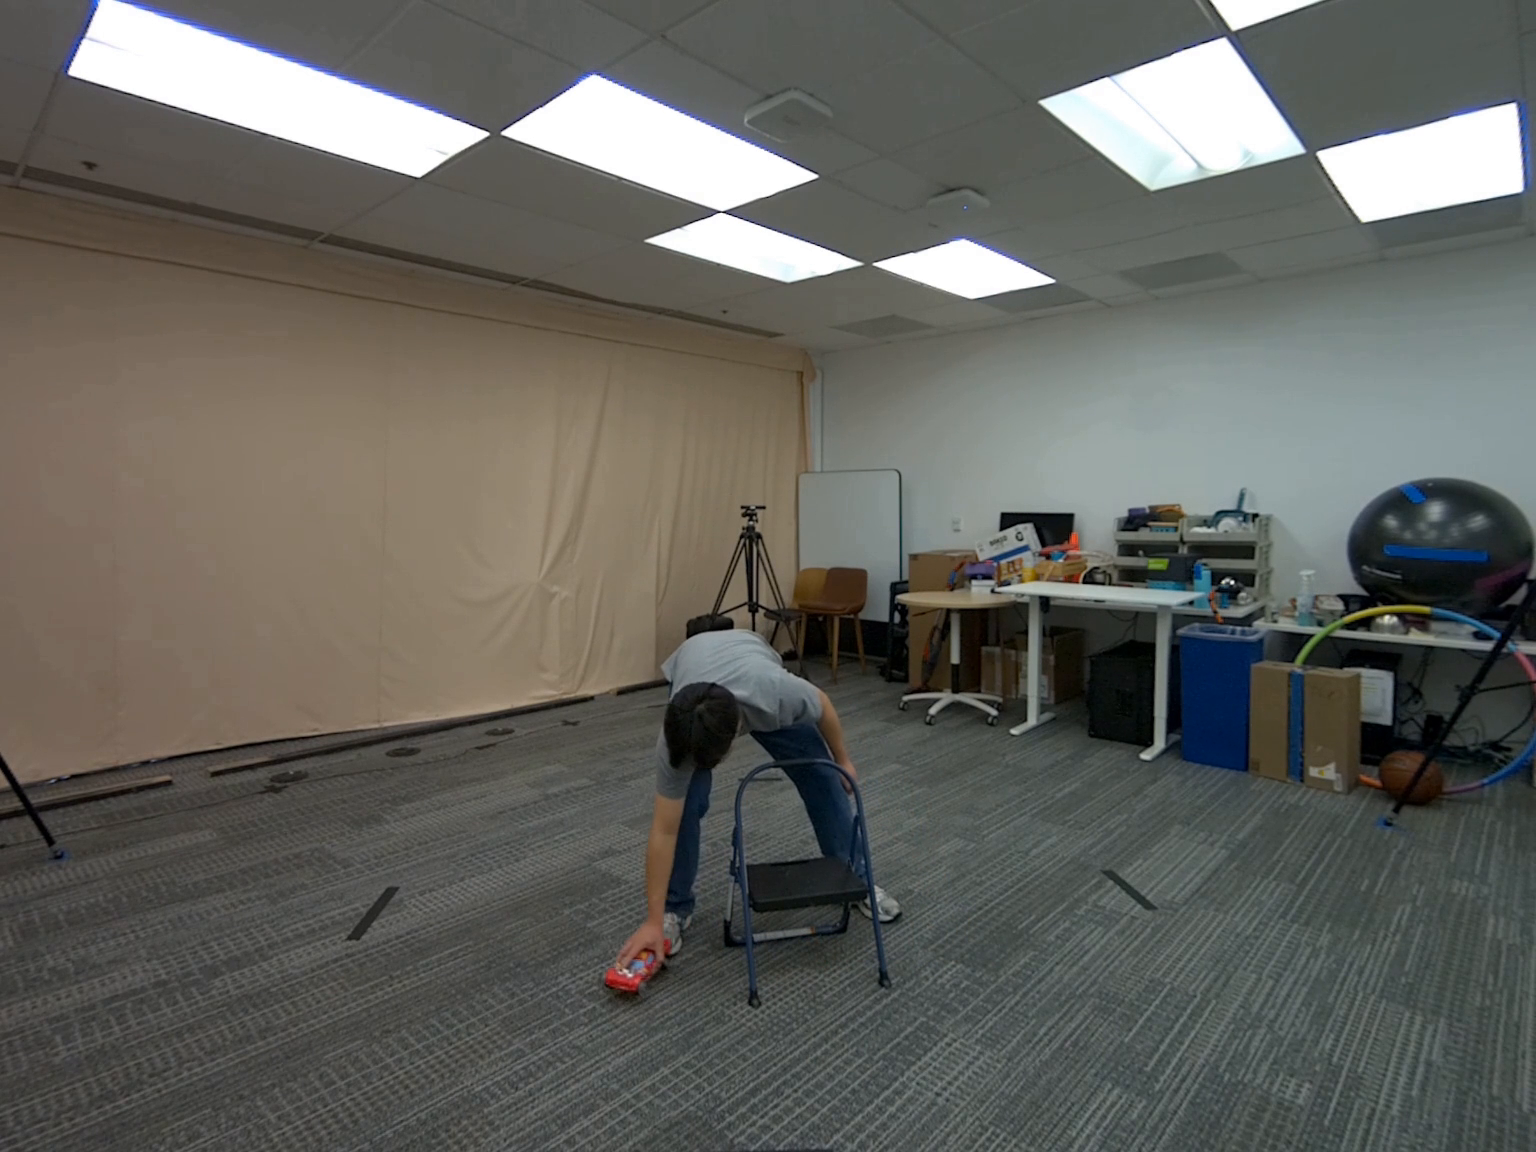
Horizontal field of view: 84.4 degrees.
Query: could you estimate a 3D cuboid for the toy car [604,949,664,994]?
[{"bbox_3d":[-0.374,1.137,2.487,0.133,0.082,0.251,-1,14,20],"label":"toy car"}]
